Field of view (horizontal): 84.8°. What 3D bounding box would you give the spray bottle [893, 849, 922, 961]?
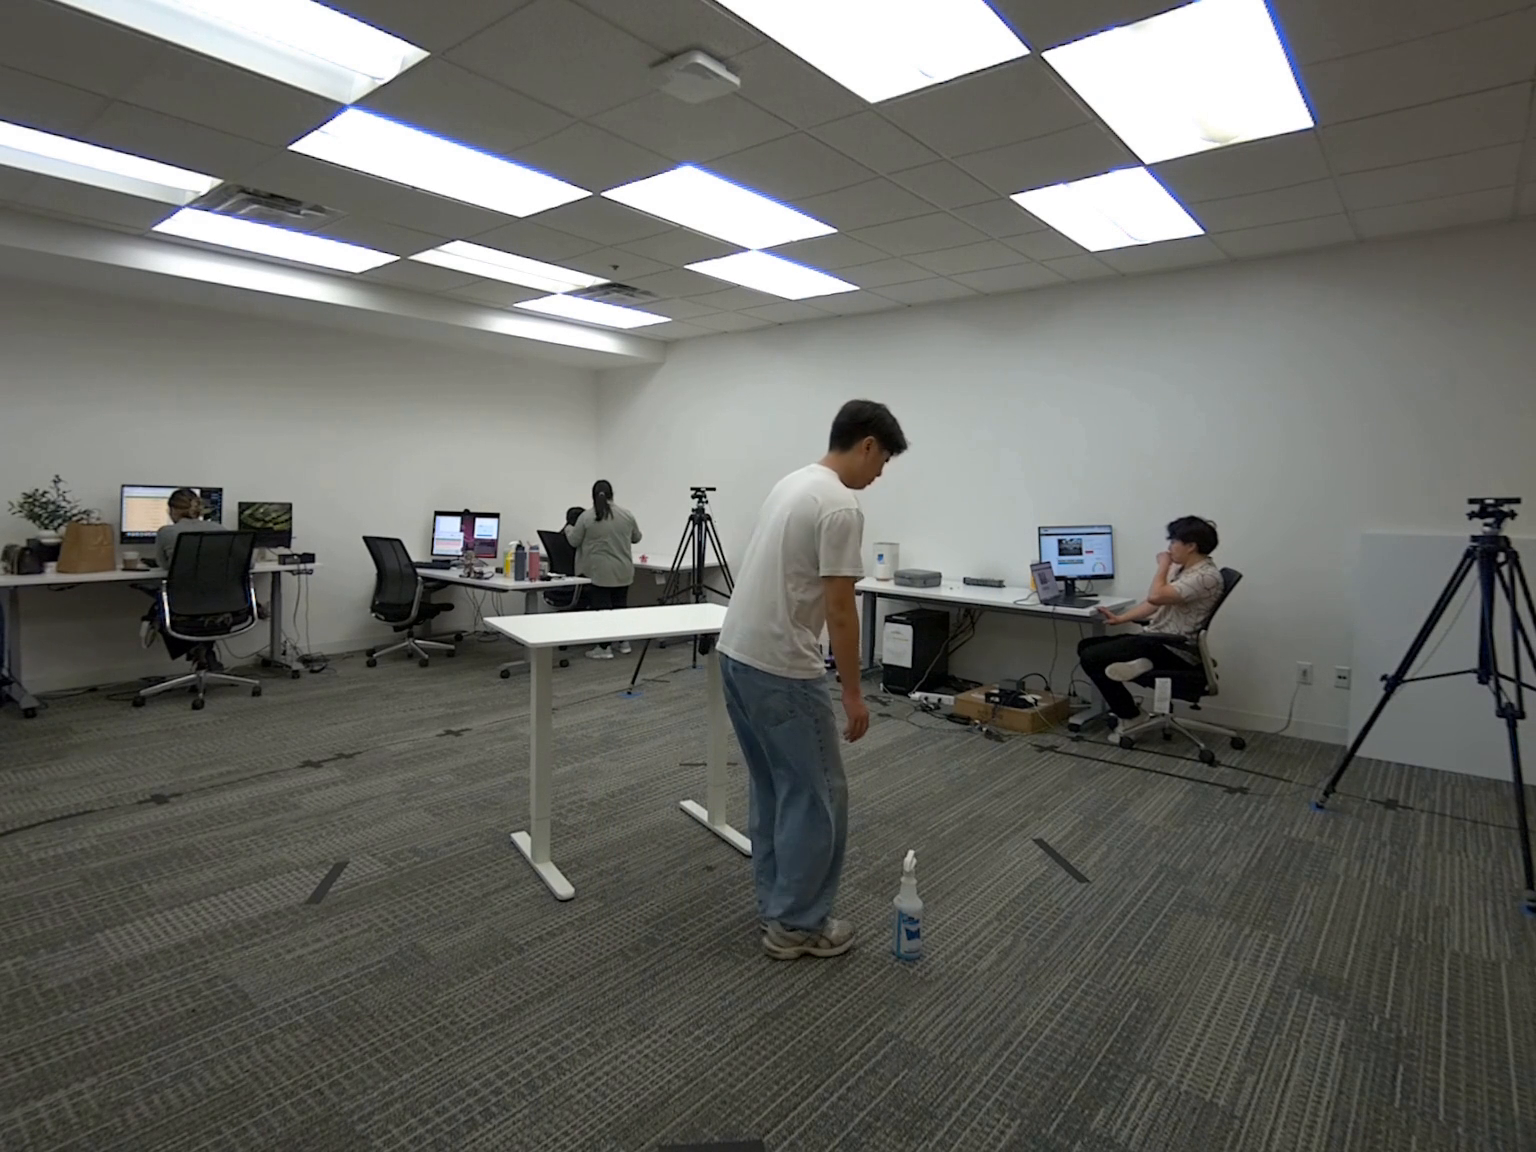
[{"bbox_3d":[0.417,0.995,2.555,0.087,0.297,0.090,1,0,-44],"label":"spray bottle"}]
